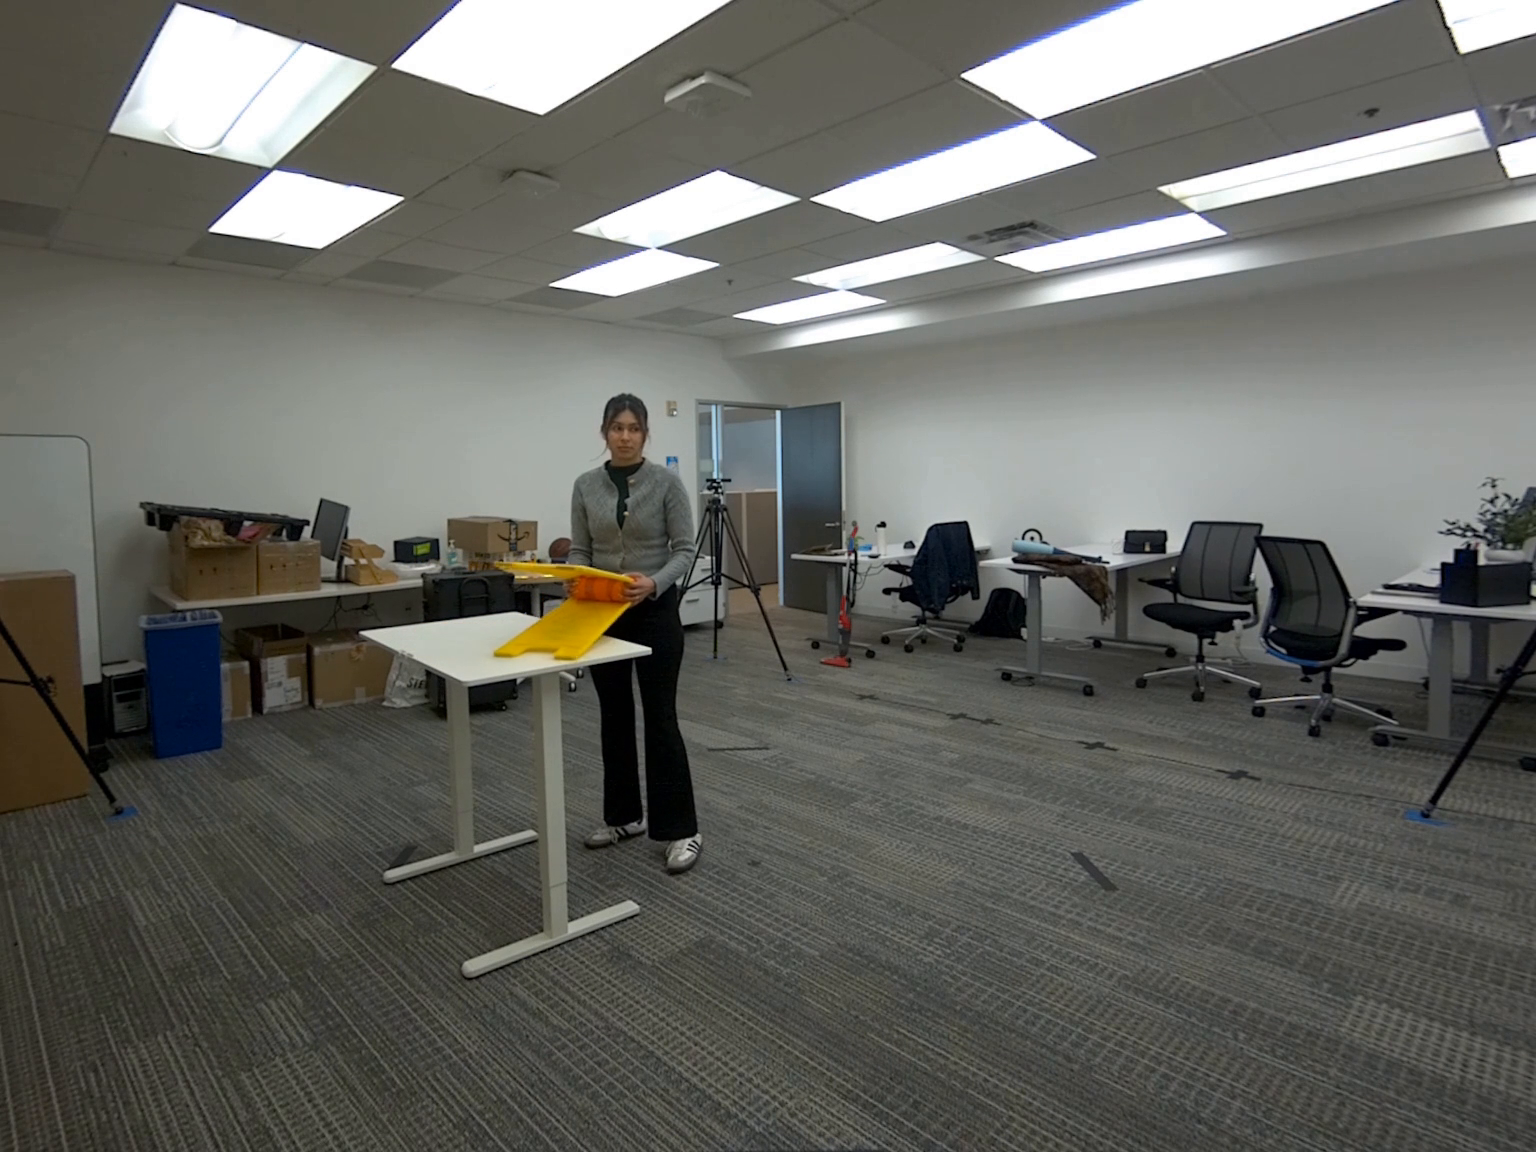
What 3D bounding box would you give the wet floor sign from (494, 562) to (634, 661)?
[{"bbox_3d":[-0.601,0.065,2.812,0.287,0.288,0.639,1,7,15],"label":"wet floor sign"}]
